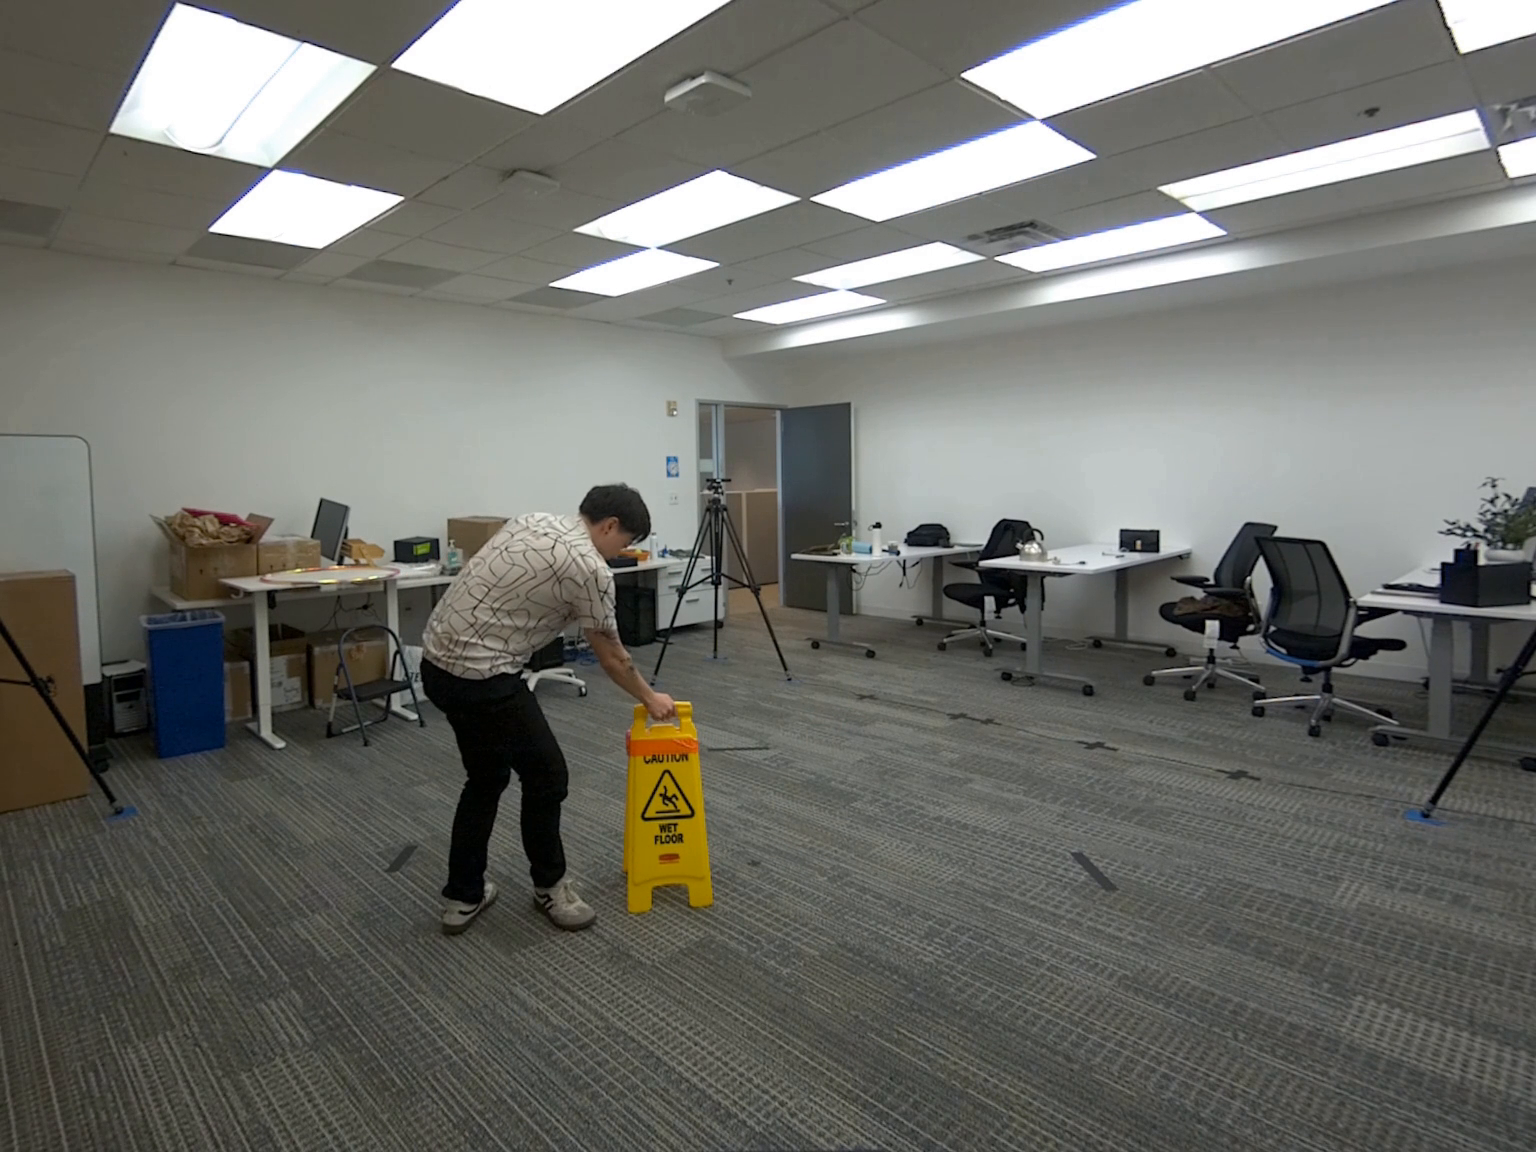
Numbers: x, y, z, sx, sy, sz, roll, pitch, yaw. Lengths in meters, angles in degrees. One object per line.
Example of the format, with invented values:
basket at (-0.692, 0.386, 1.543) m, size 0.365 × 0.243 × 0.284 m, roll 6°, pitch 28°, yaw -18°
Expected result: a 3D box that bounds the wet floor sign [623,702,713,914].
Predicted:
wet floor sign at (-0.352, 0.745, 2.911) m, size 0.279 × 0.643 × 0.294 m, roll -3°, pitch 5°, yaw -11°
